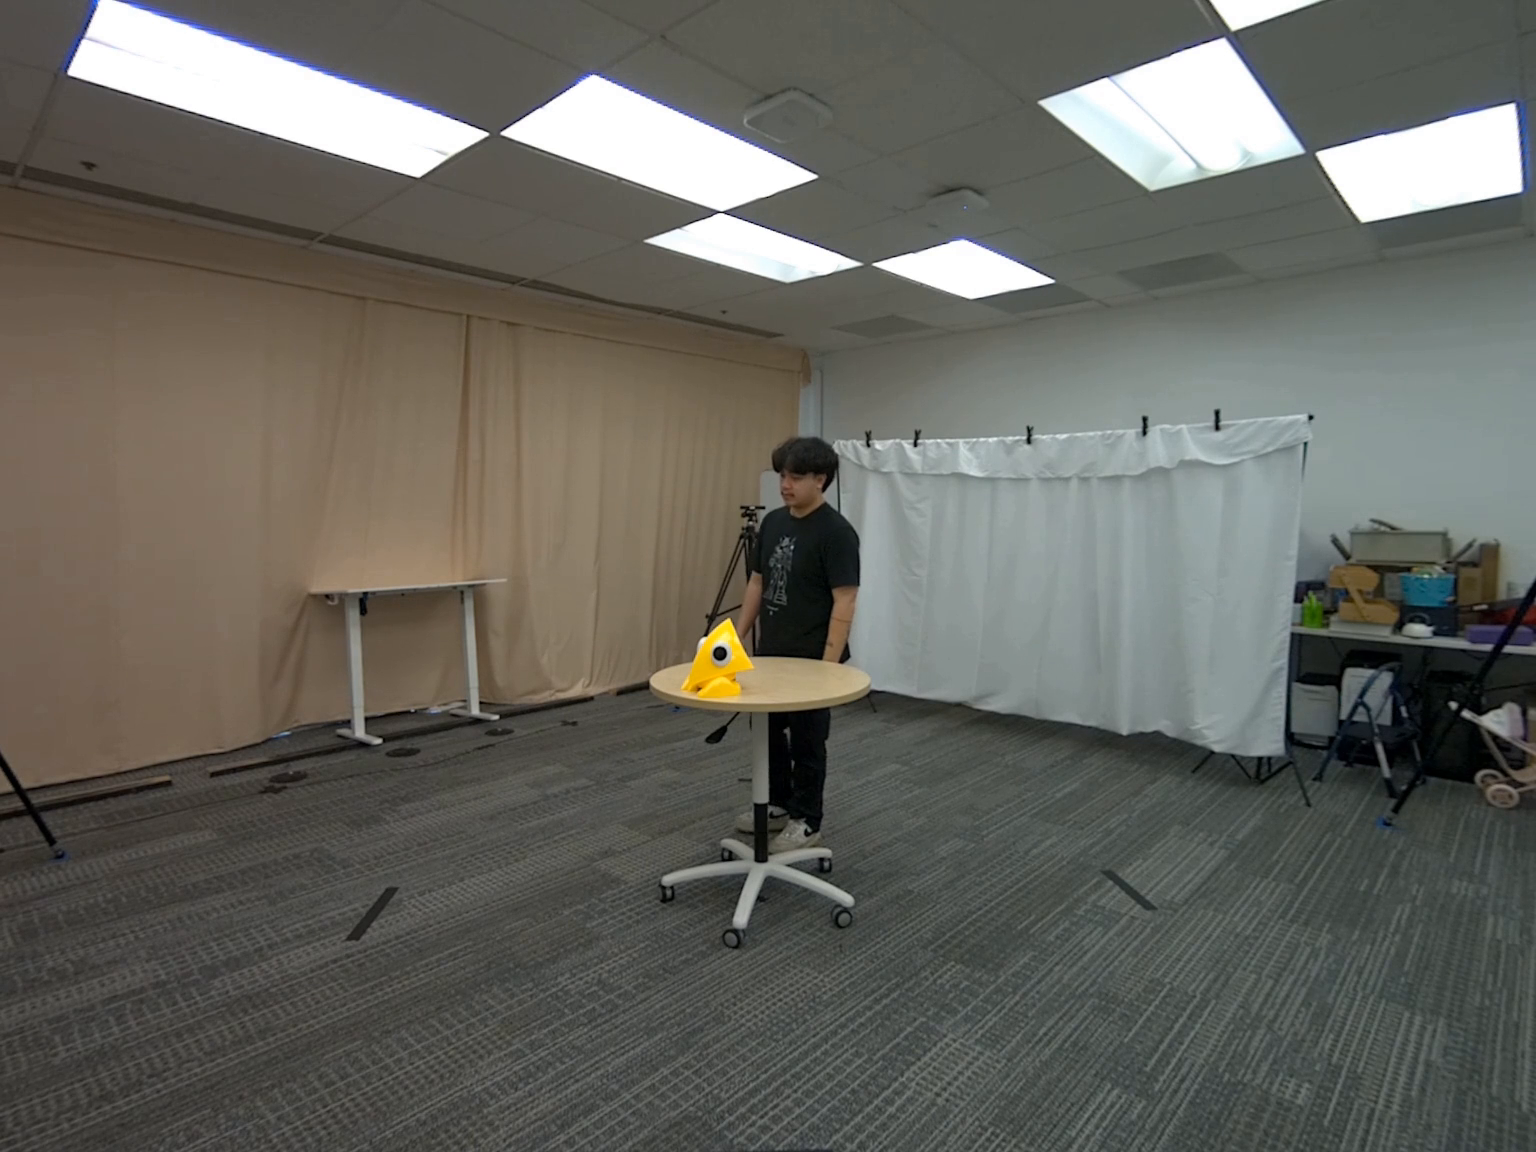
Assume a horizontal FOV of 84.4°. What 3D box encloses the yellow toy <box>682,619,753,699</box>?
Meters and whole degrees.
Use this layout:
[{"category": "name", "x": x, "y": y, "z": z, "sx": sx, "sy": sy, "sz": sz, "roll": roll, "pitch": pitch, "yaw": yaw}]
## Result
[{"category": "yellow toy", "x": -0.171, "y": 0.260, "z": 2.743, "sx": 0.188, "sy": 0.230, "sz": 0.211, "roll": -2, "pitch": 5, "yaw": -31}]
